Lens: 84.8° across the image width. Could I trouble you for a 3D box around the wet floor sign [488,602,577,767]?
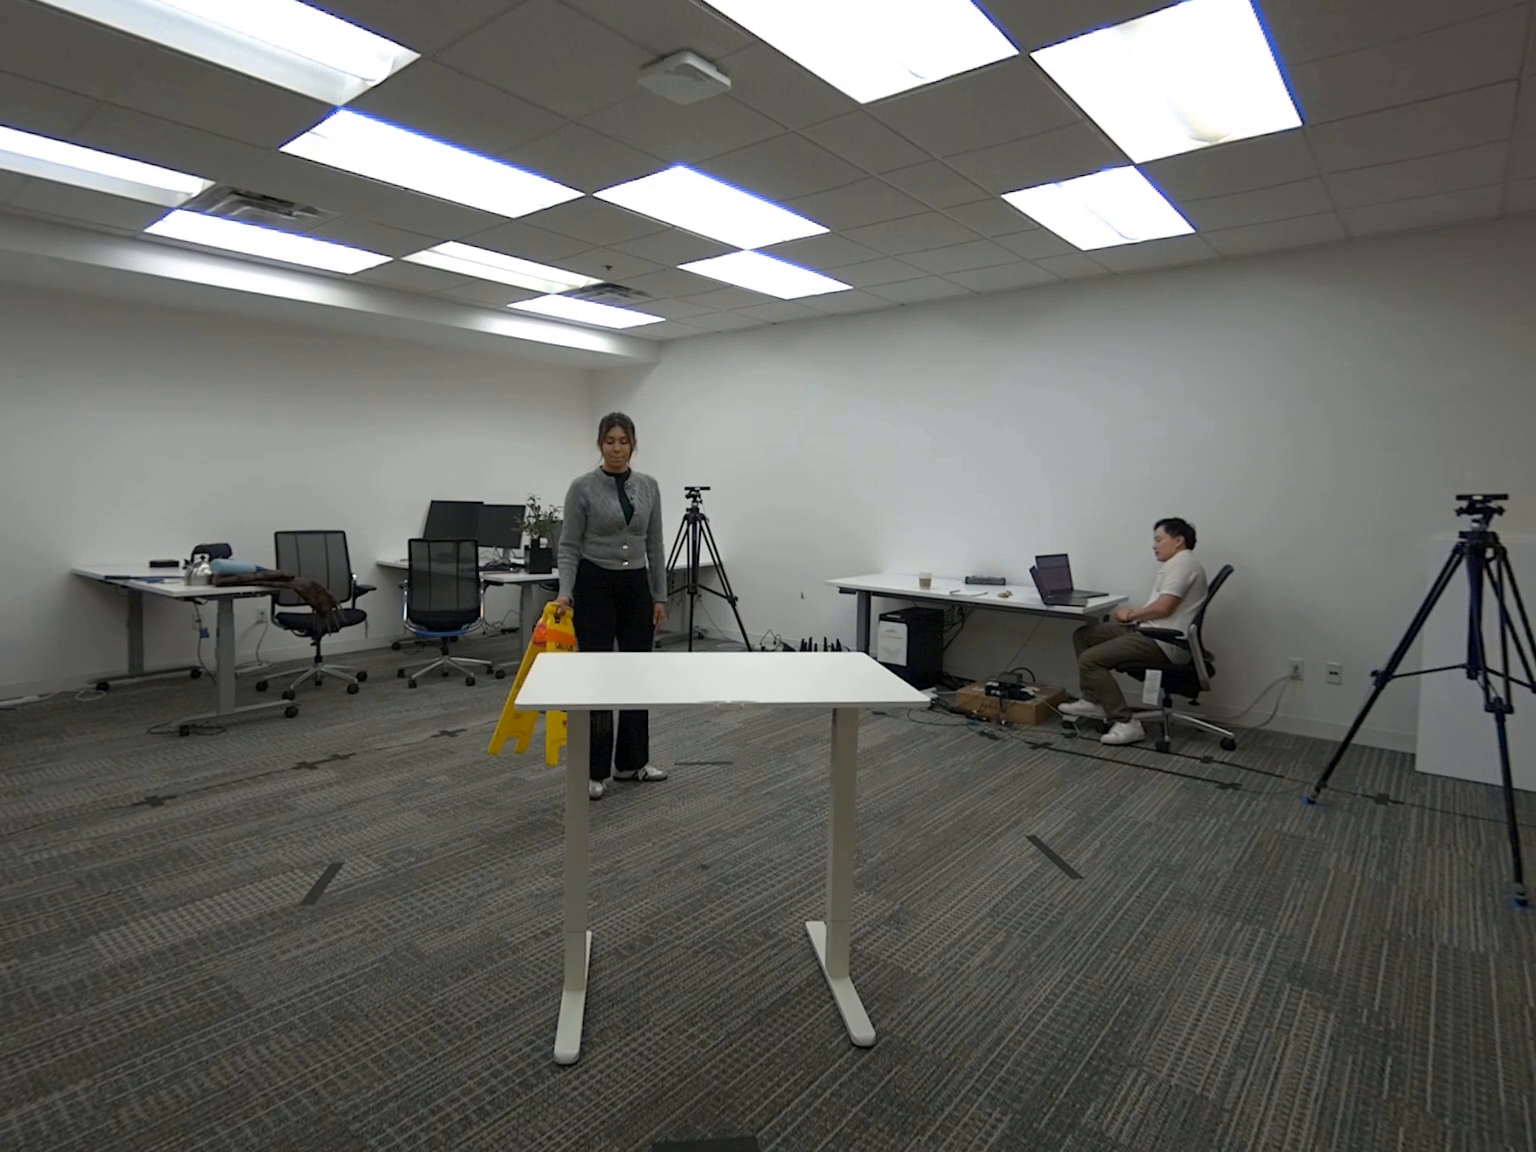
[{"bbox_3d":[-0.942,0.445,3.577,0.296,0.651,0.274,4,-10,18],"label":"wet floor sign"}]
